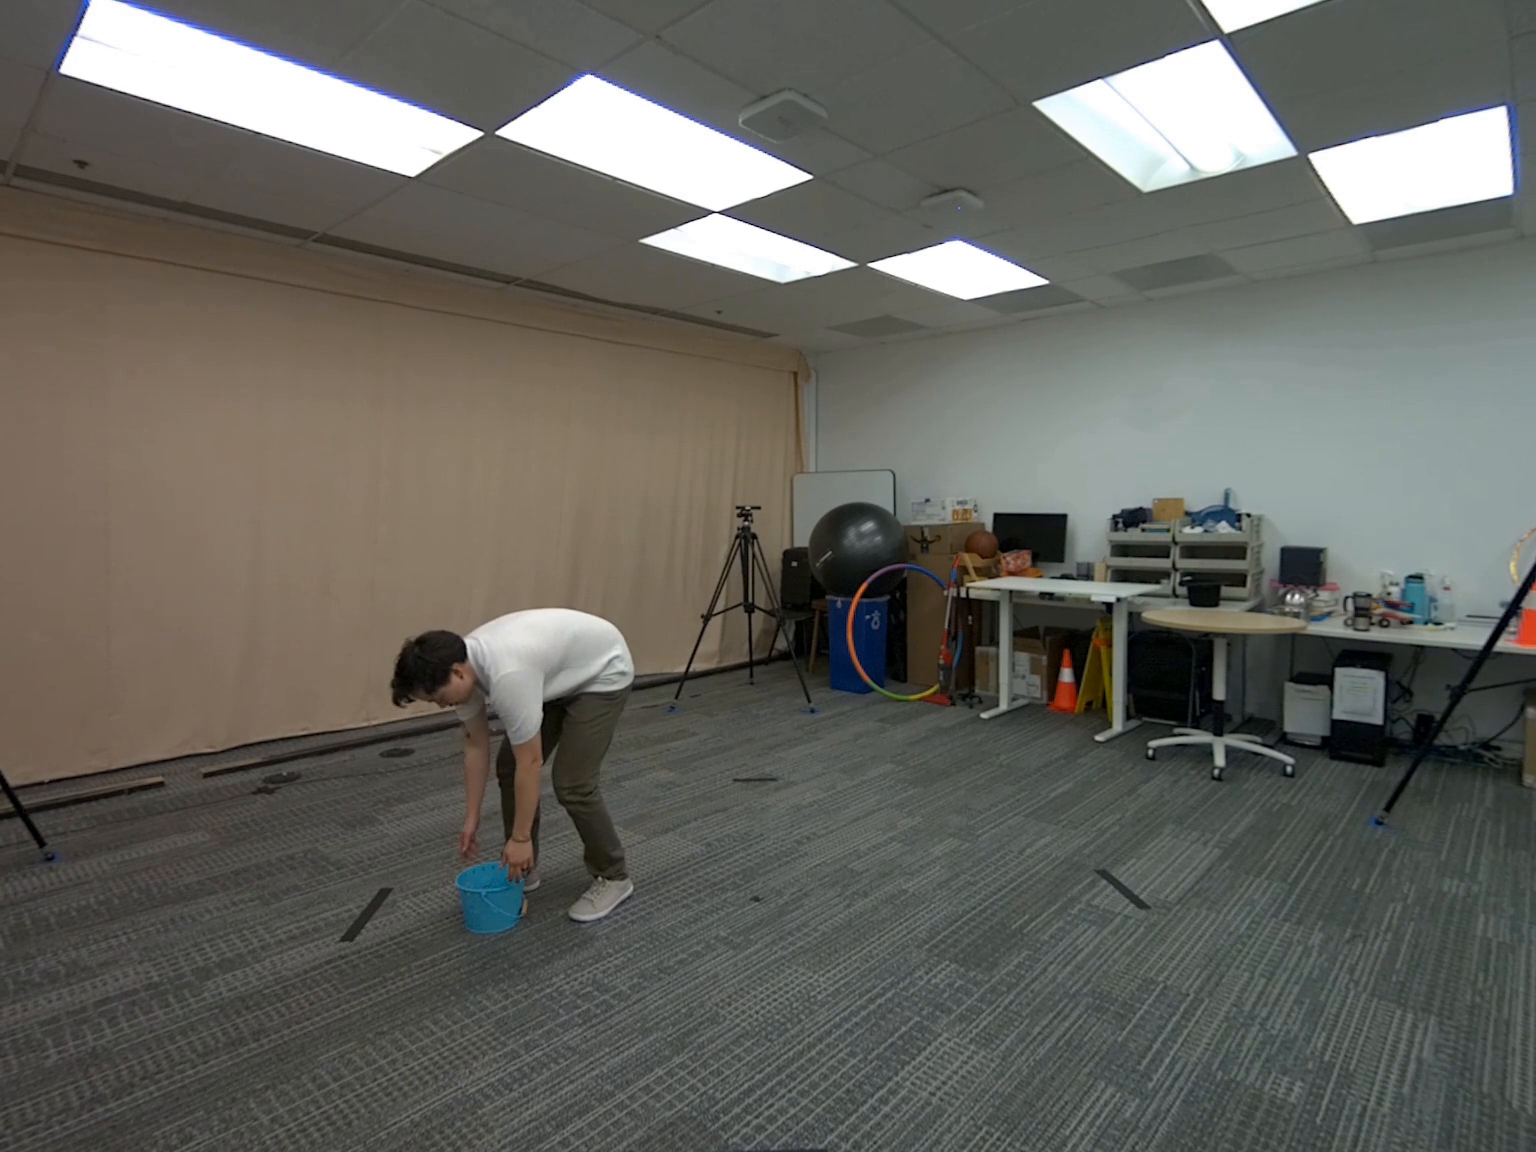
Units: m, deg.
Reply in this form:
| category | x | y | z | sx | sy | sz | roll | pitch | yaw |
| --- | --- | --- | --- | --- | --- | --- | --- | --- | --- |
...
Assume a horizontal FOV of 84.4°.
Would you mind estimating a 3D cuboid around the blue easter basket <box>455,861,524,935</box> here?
| category | x | y | z | sx | sy | sz | roll | pitch | yaw |
| --- | --- | --- | --- | --- | --- | --- | --- | --- | --- |
| blue easter basket | -0.917 | 1.082 | 2.835 | 0.243 | 0.155 | 0.244 | 0 | 4 | -2 |
